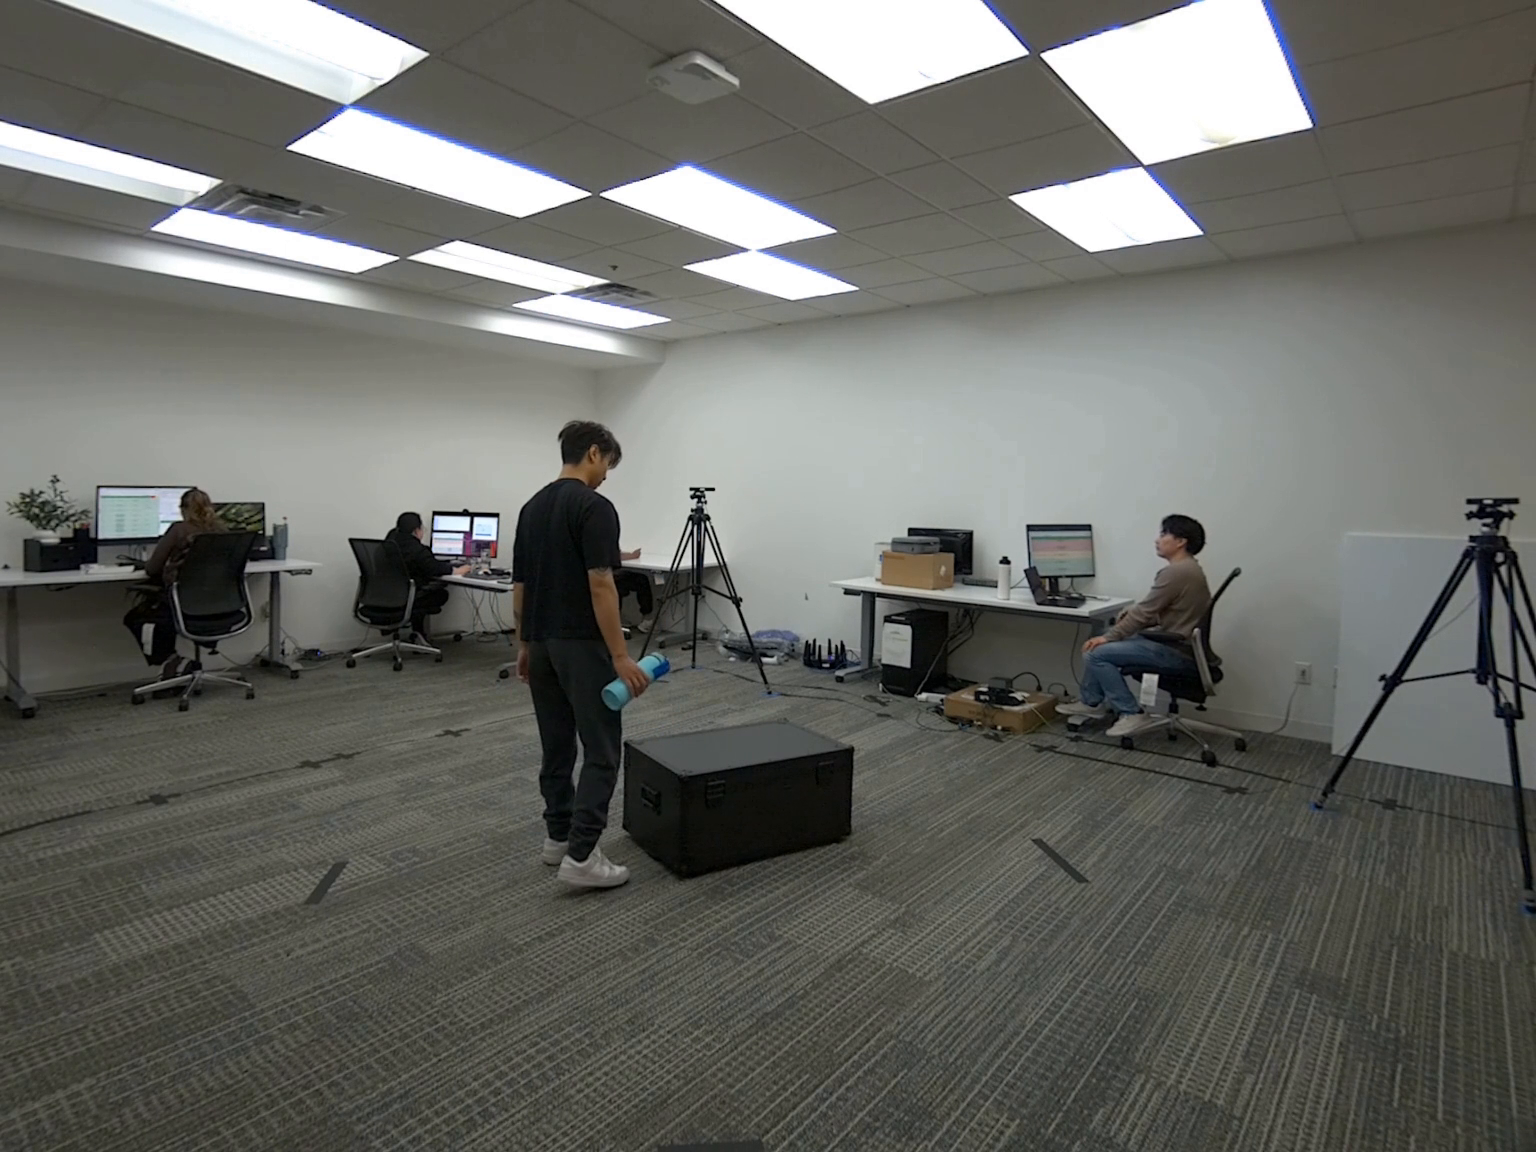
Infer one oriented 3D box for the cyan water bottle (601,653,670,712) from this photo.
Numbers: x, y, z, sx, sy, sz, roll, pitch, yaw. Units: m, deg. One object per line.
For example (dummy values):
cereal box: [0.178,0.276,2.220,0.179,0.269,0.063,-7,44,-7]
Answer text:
cyan water bottle: [-0.467,0.360,2.963,0.095,0.090,0.281,4,29,40]
